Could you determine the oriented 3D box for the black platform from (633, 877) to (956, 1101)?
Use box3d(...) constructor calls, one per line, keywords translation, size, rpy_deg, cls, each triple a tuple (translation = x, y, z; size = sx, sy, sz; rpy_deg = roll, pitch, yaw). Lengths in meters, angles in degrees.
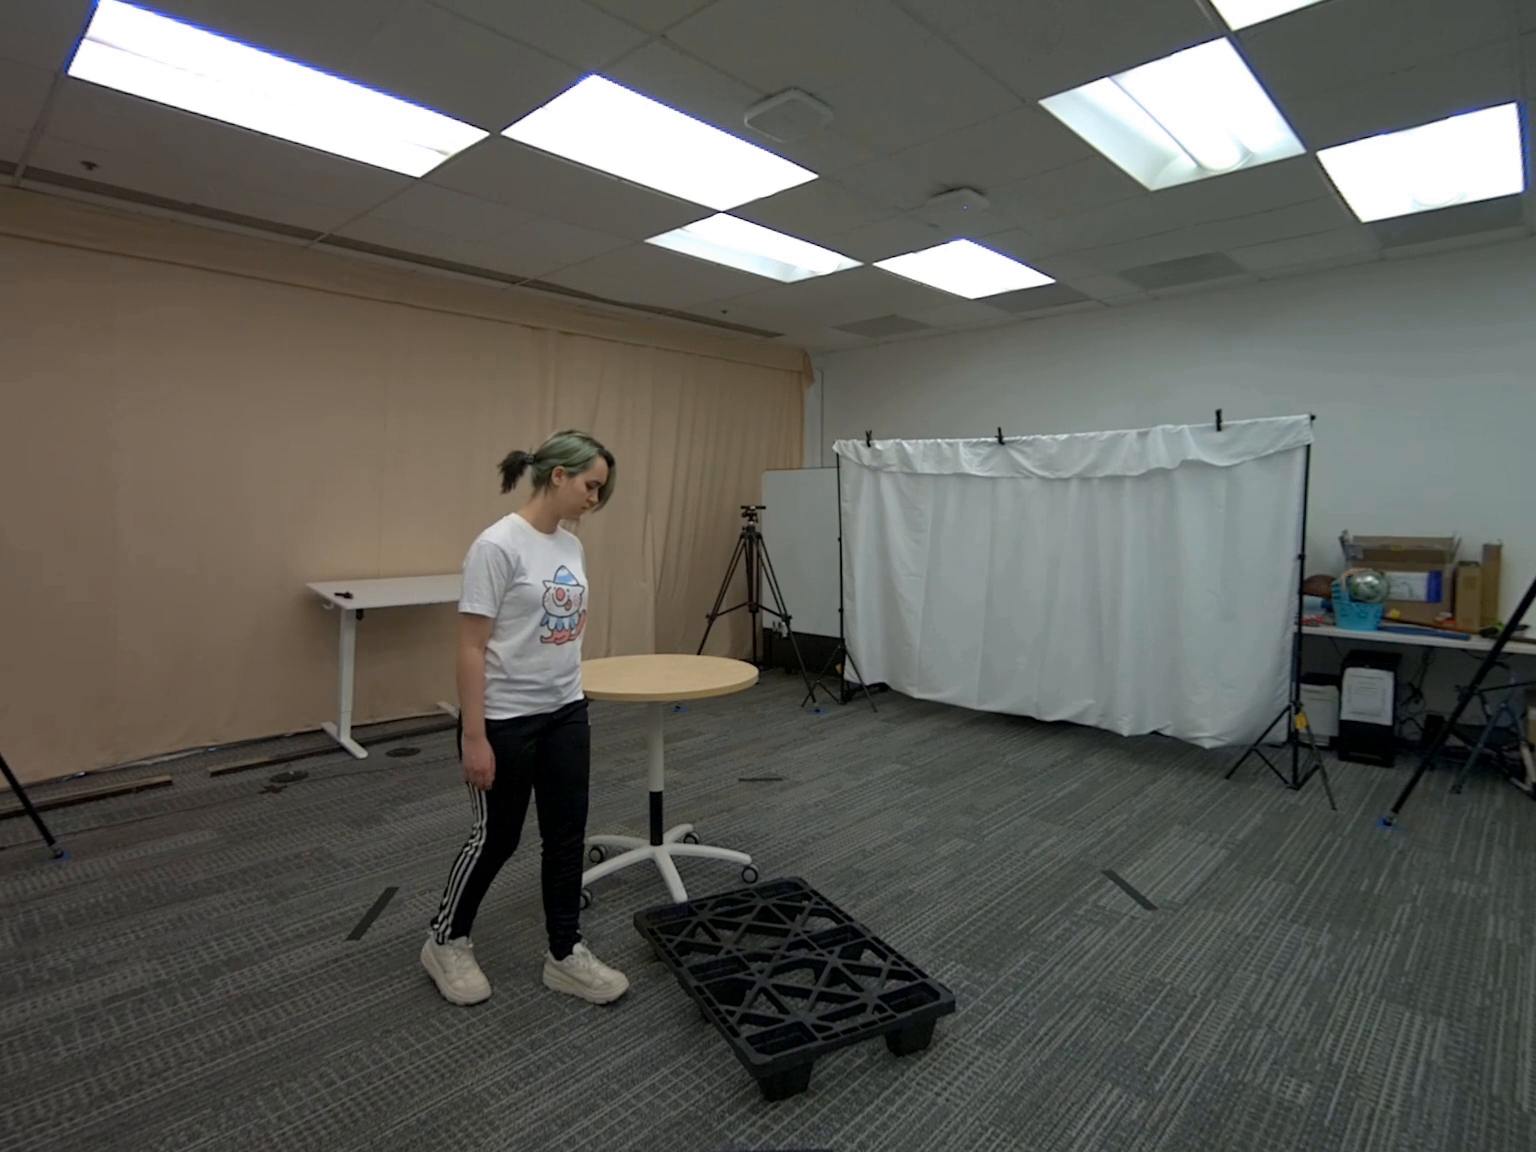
box3d(translation=(0.036, 1.126, 2.381), size=(0.590, 0.143, 0.828), rpy_deg=(-4, 6, -28), cls="black platform")
